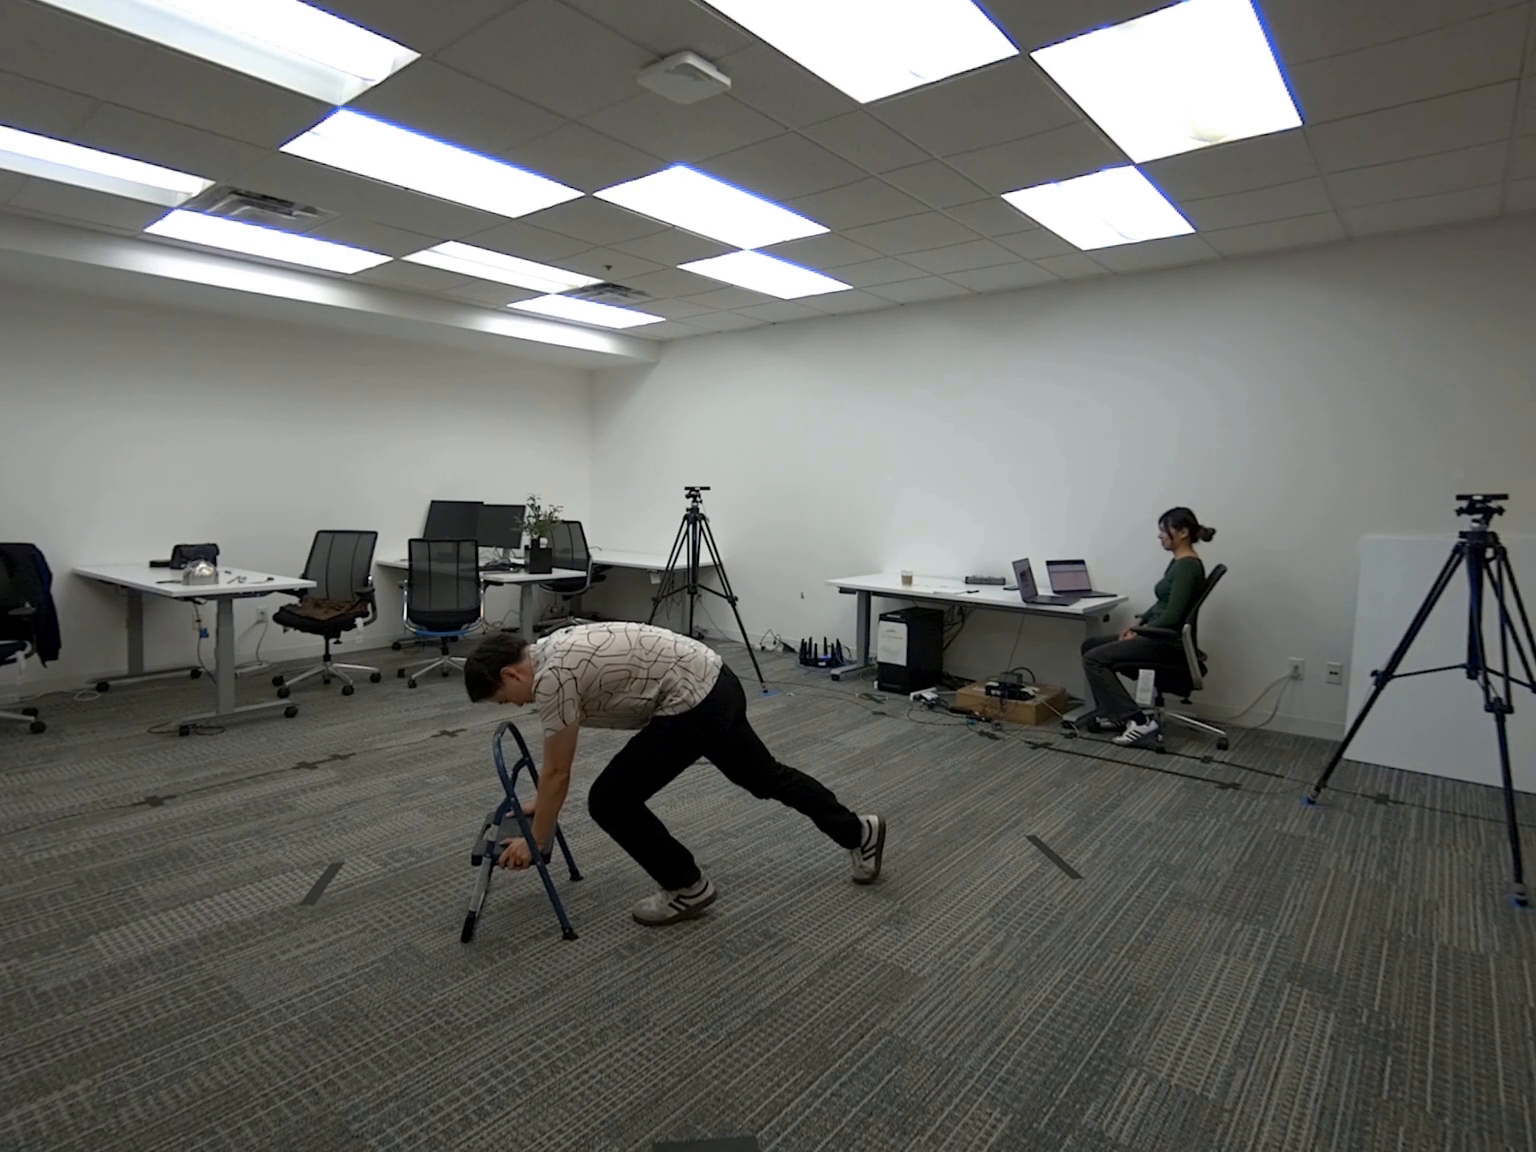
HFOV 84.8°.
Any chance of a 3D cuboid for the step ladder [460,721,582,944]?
[{"bbox_3d":[-0.804,0.791,2.780,0.346,0.604,0.436,0,3,-9],"label":"step ladder"}]
